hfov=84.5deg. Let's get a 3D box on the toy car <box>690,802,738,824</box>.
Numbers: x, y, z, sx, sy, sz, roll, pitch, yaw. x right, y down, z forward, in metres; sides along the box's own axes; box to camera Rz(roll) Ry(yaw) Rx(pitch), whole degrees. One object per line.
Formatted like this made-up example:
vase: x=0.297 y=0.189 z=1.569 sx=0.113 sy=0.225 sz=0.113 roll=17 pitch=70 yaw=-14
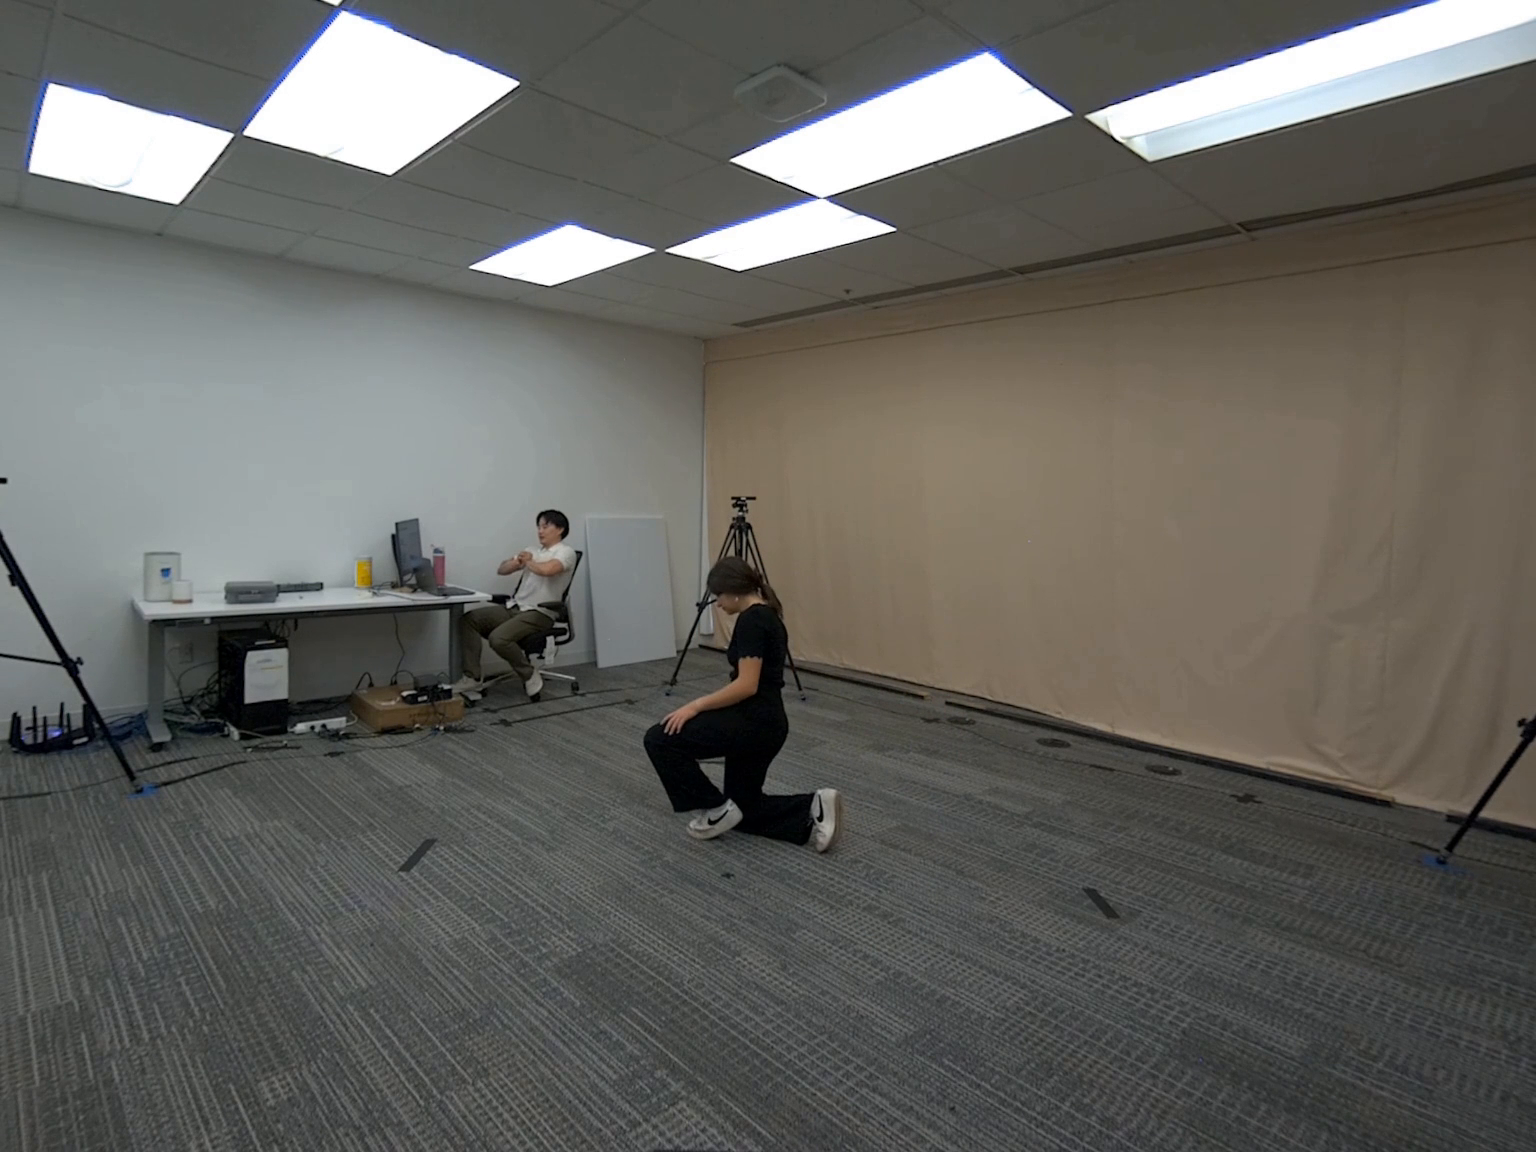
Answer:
toy car: x=-0.244 y=1.020 z=3.734 sx=0.128 sy=0.083 sz=0.257 roll=2 pitch=-6 yaw=-22
